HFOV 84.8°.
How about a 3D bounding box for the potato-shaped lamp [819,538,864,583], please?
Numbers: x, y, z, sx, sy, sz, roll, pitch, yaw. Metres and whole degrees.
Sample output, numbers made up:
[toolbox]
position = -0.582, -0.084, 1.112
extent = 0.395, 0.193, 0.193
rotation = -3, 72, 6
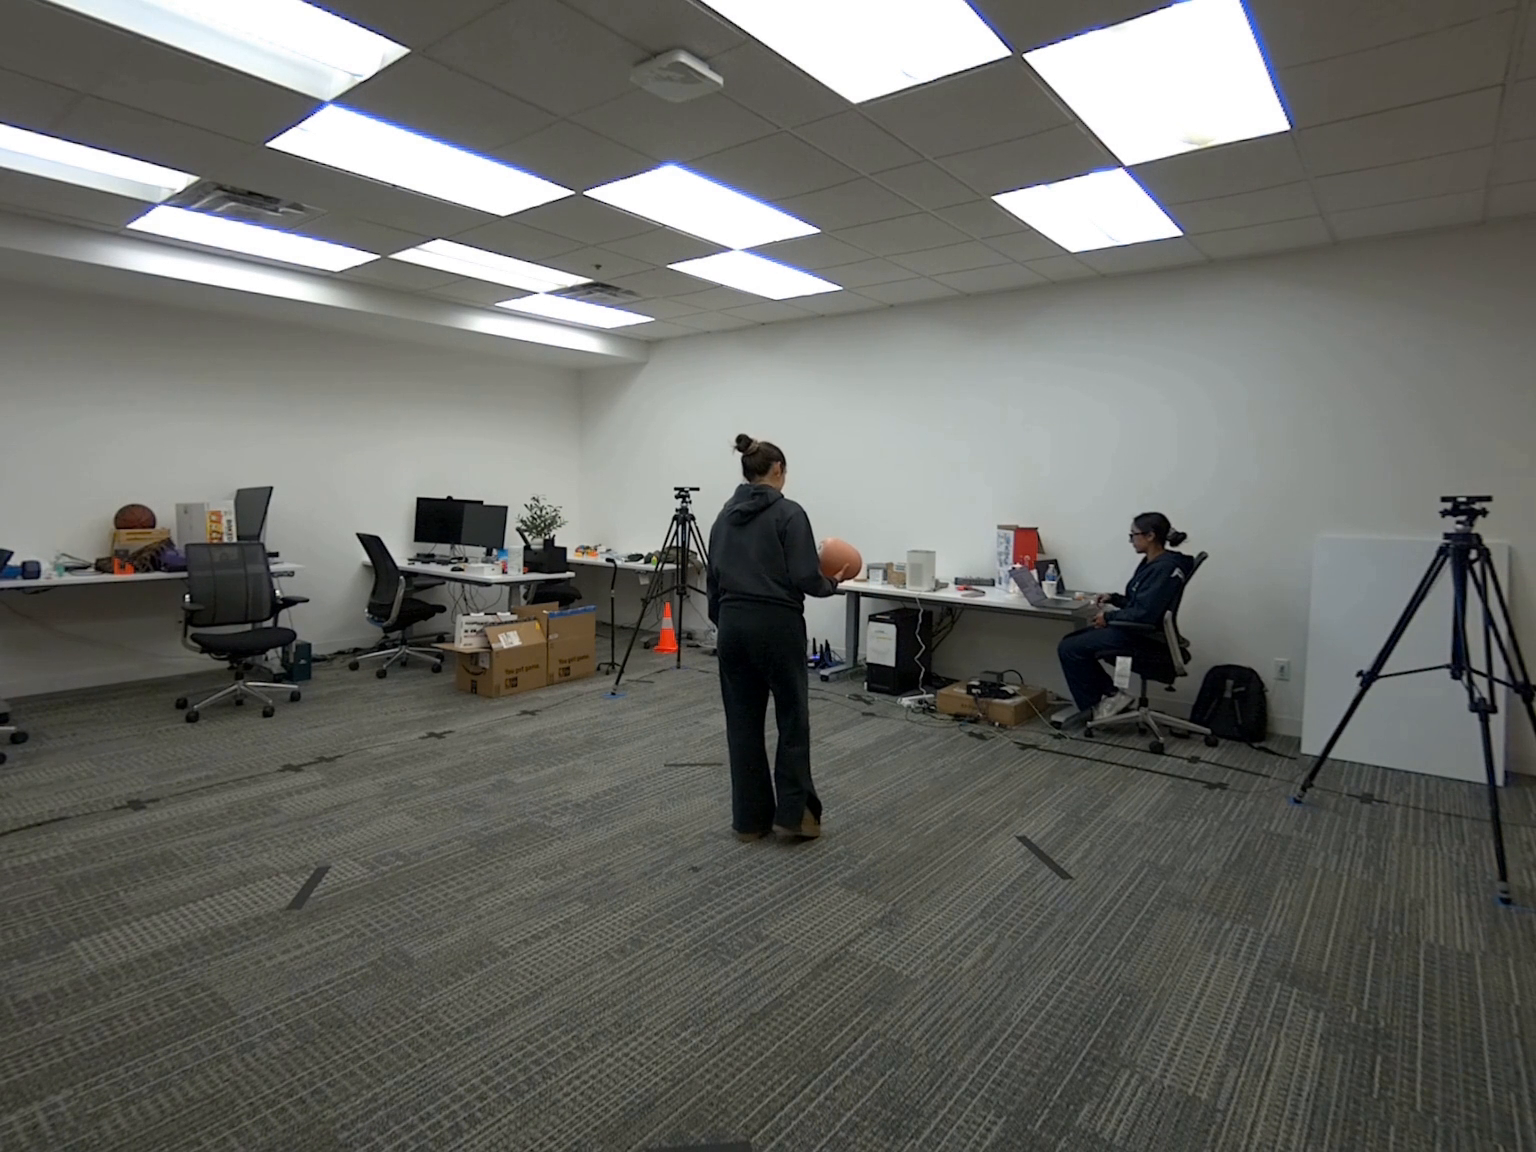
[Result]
[potato-shaped lamp]
position = 0.284, -0.066, 3.553
extent = 0.194, 0.168, 0.171
rotation = 29, -48, -15
